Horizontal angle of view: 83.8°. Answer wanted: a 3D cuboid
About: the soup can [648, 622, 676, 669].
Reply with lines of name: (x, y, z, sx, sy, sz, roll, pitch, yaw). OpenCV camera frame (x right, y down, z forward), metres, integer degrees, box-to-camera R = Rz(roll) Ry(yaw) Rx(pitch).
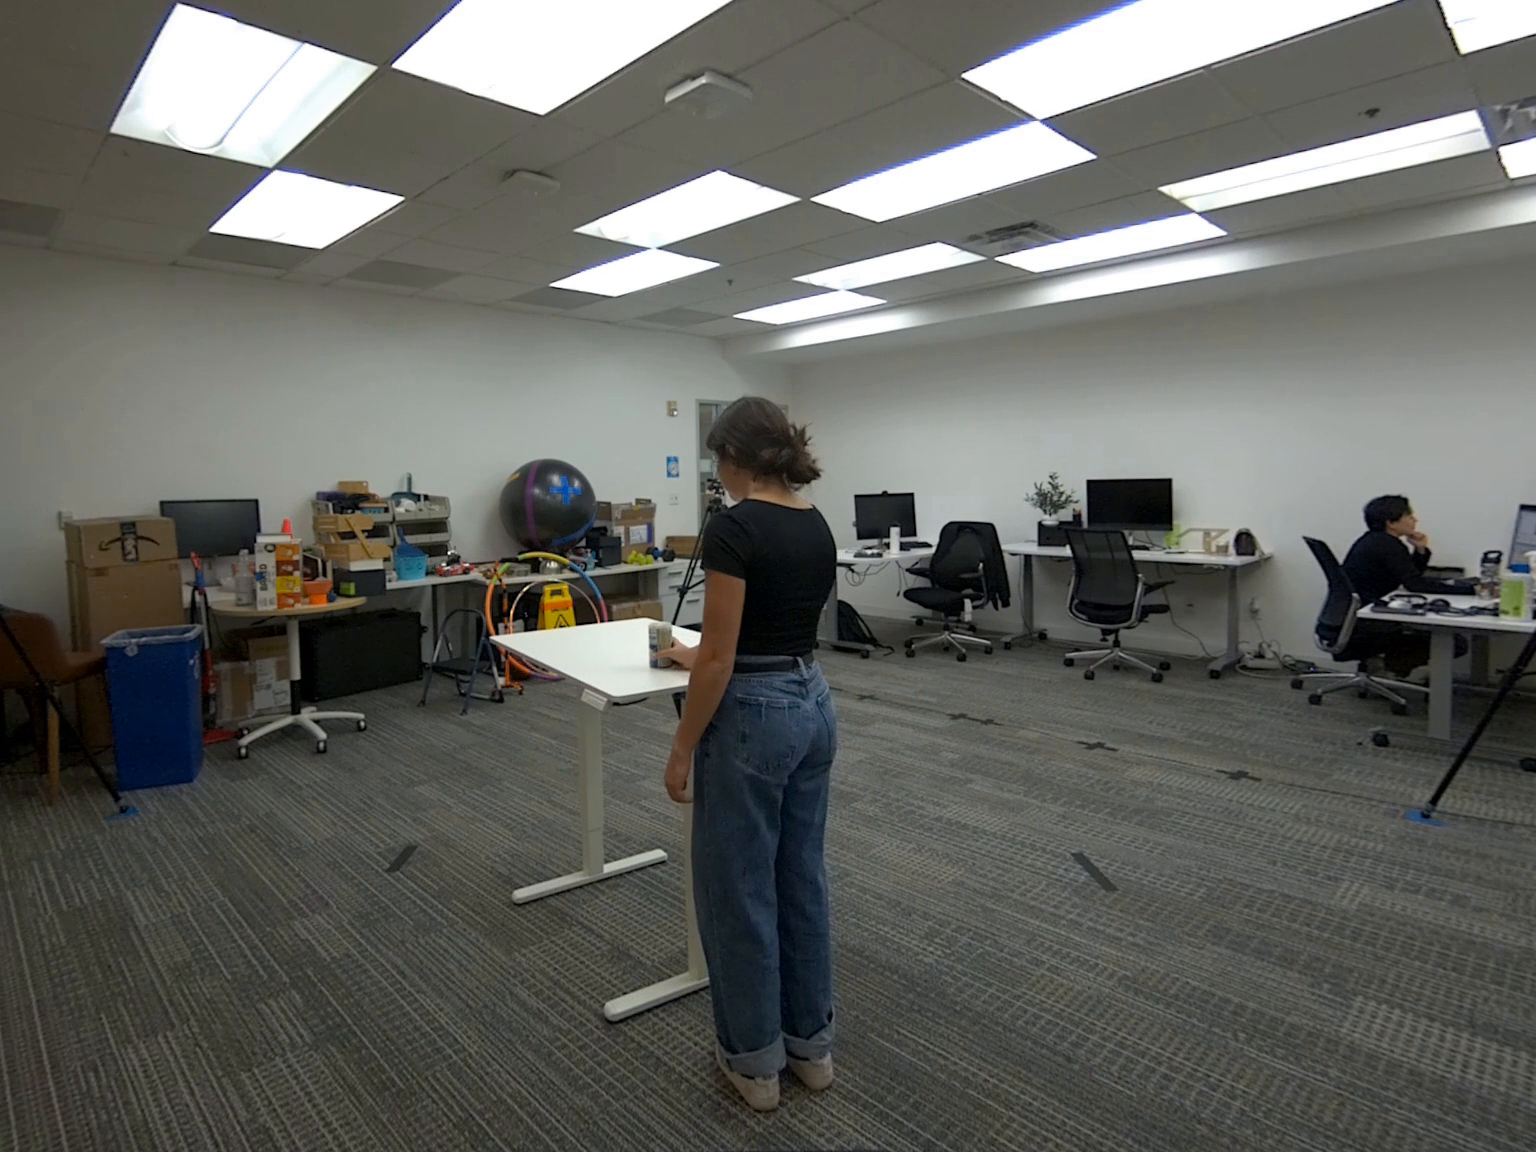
soup can: (-0.296, 0.193, 2.375, 0.067, 0.121, 0.067, 1, 0, -2)
